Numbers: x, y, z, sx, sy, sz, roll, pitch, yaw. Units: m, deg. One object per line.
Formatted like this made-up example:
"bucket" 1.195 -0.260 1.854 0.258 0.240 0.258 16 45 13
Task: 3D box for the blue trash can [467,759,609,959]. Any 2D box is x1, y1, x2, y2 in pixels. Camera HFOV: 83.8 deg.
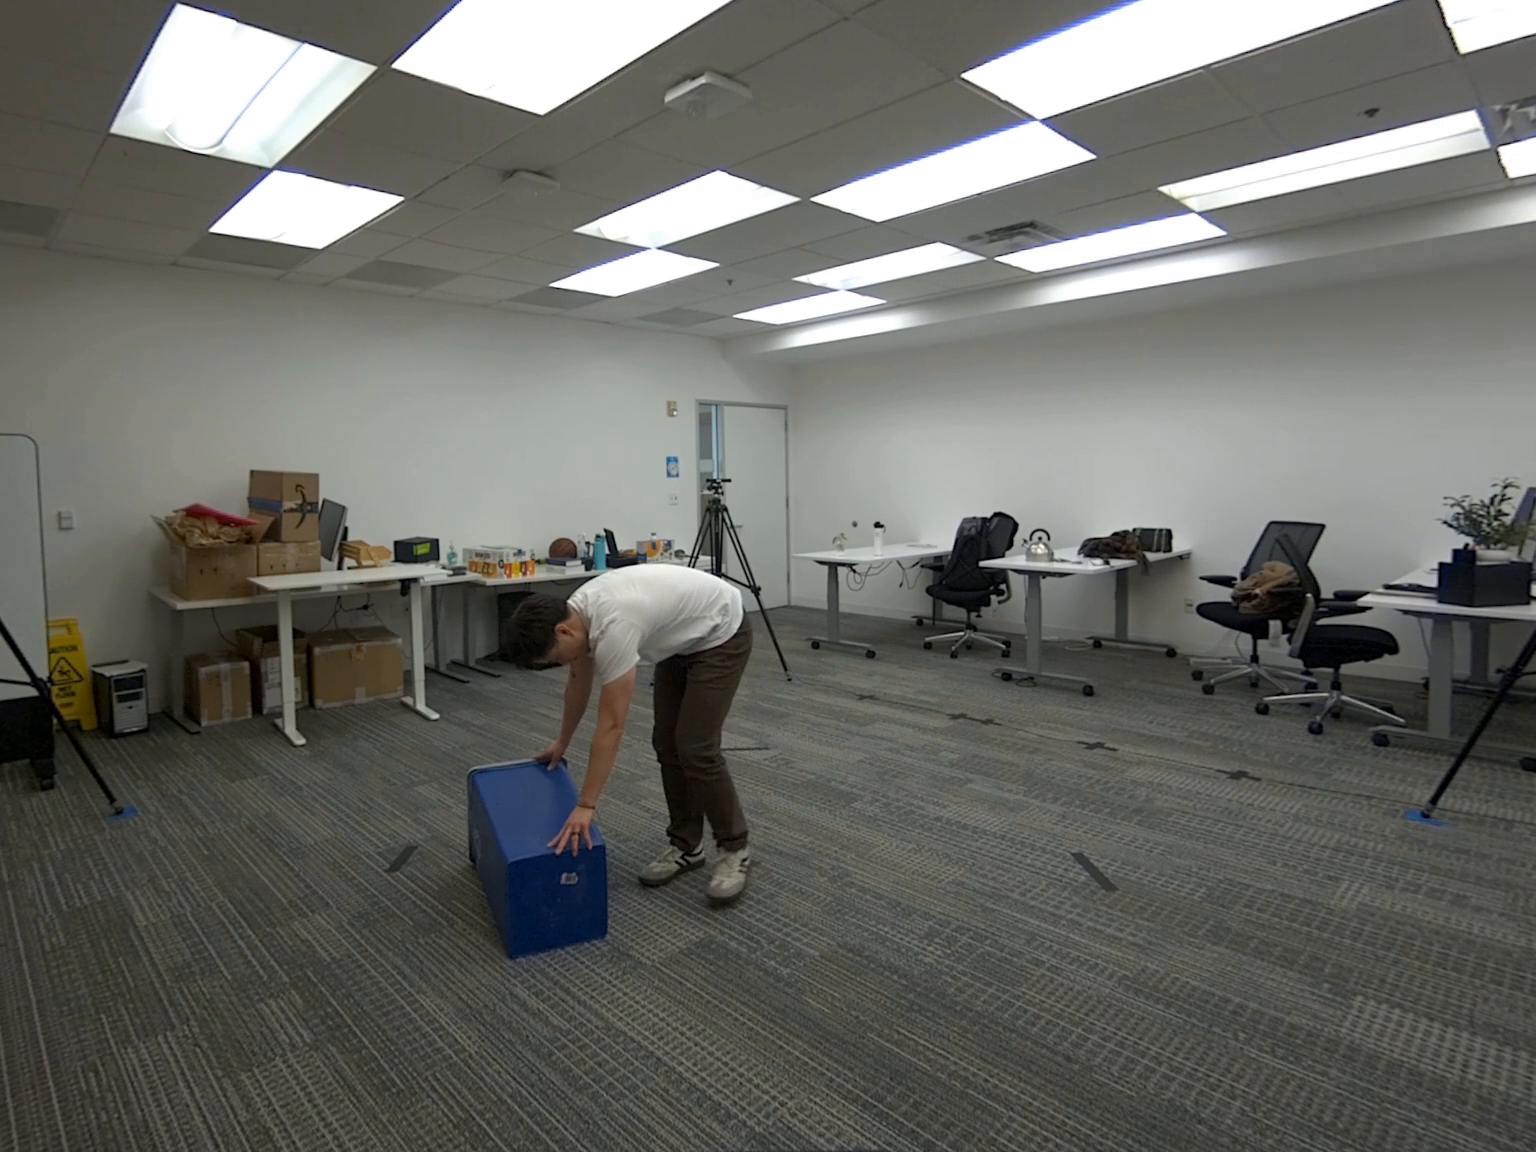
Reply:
"blue trash can" -0.784 0.917 2.870 0.366 0.376 0.732 -2 7 -24
